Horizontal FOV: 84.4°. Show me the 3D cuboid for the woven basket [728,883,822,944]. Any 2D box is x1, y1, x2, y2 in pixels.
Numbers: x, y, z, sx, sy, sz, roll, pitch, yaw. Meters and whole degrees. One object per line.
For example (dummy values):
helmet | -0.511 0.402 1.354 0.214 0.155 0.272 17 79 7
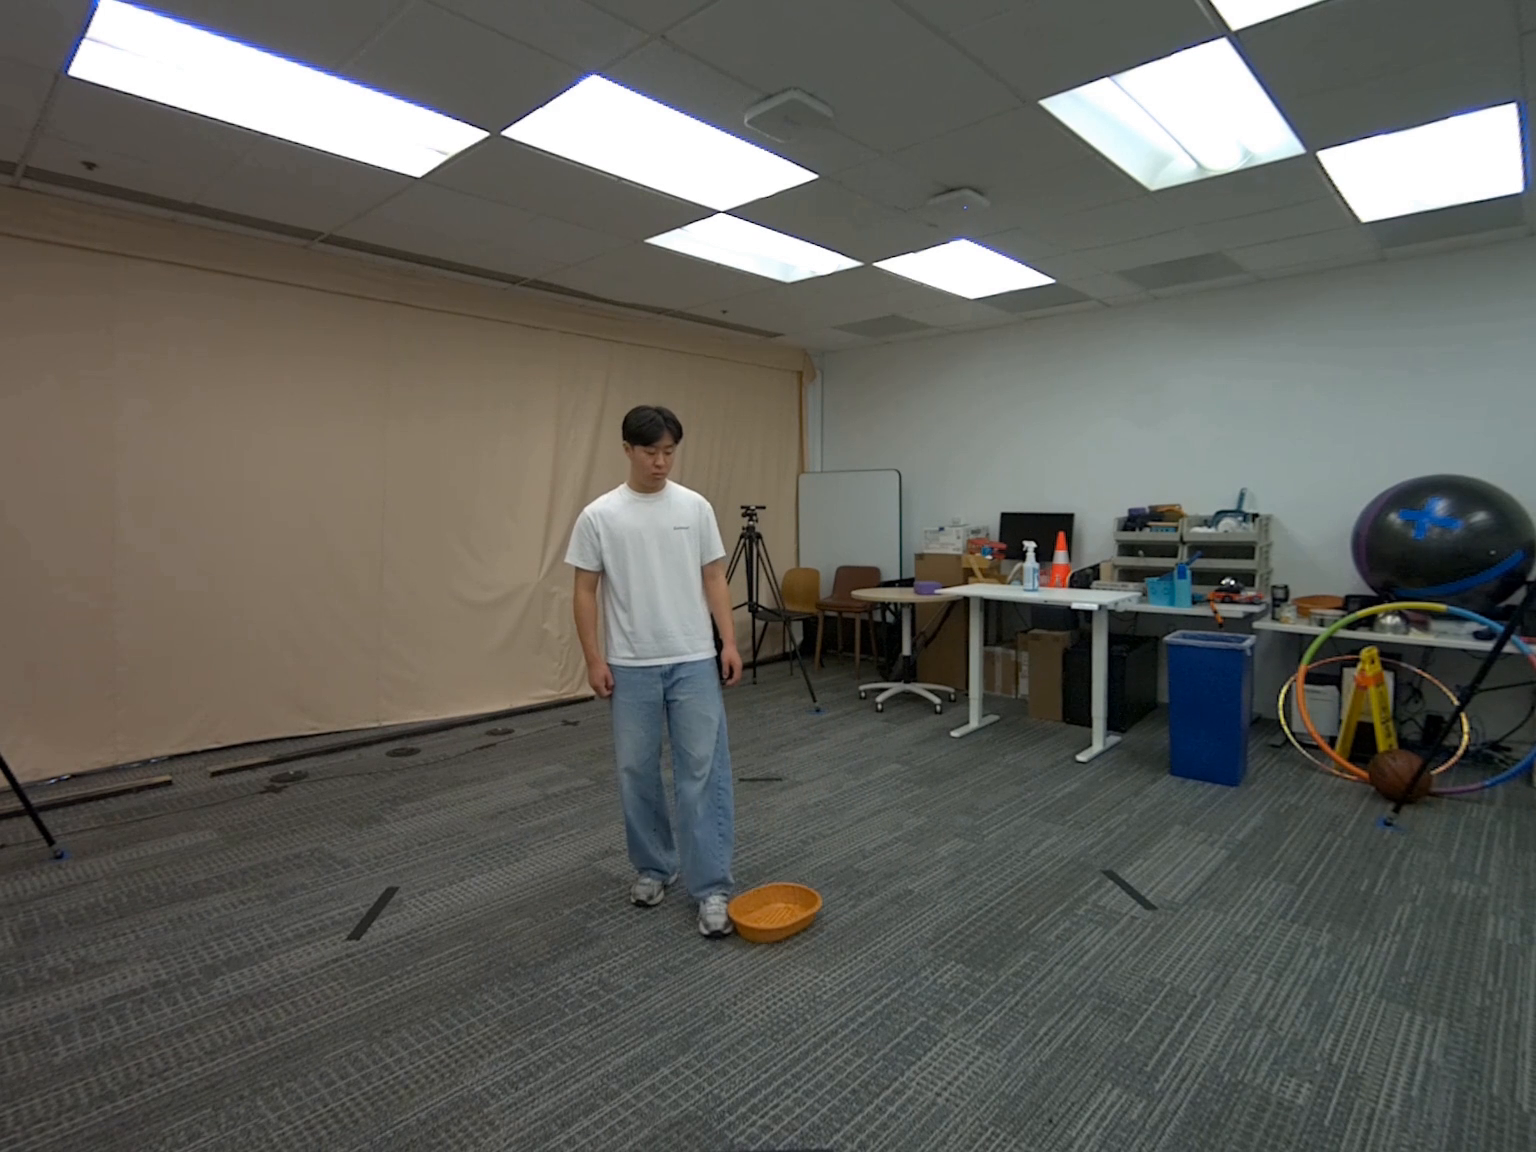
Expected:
woven basket | 0.035 1.118 2.800 0.340 0.073 0.261 -4 6 -42
